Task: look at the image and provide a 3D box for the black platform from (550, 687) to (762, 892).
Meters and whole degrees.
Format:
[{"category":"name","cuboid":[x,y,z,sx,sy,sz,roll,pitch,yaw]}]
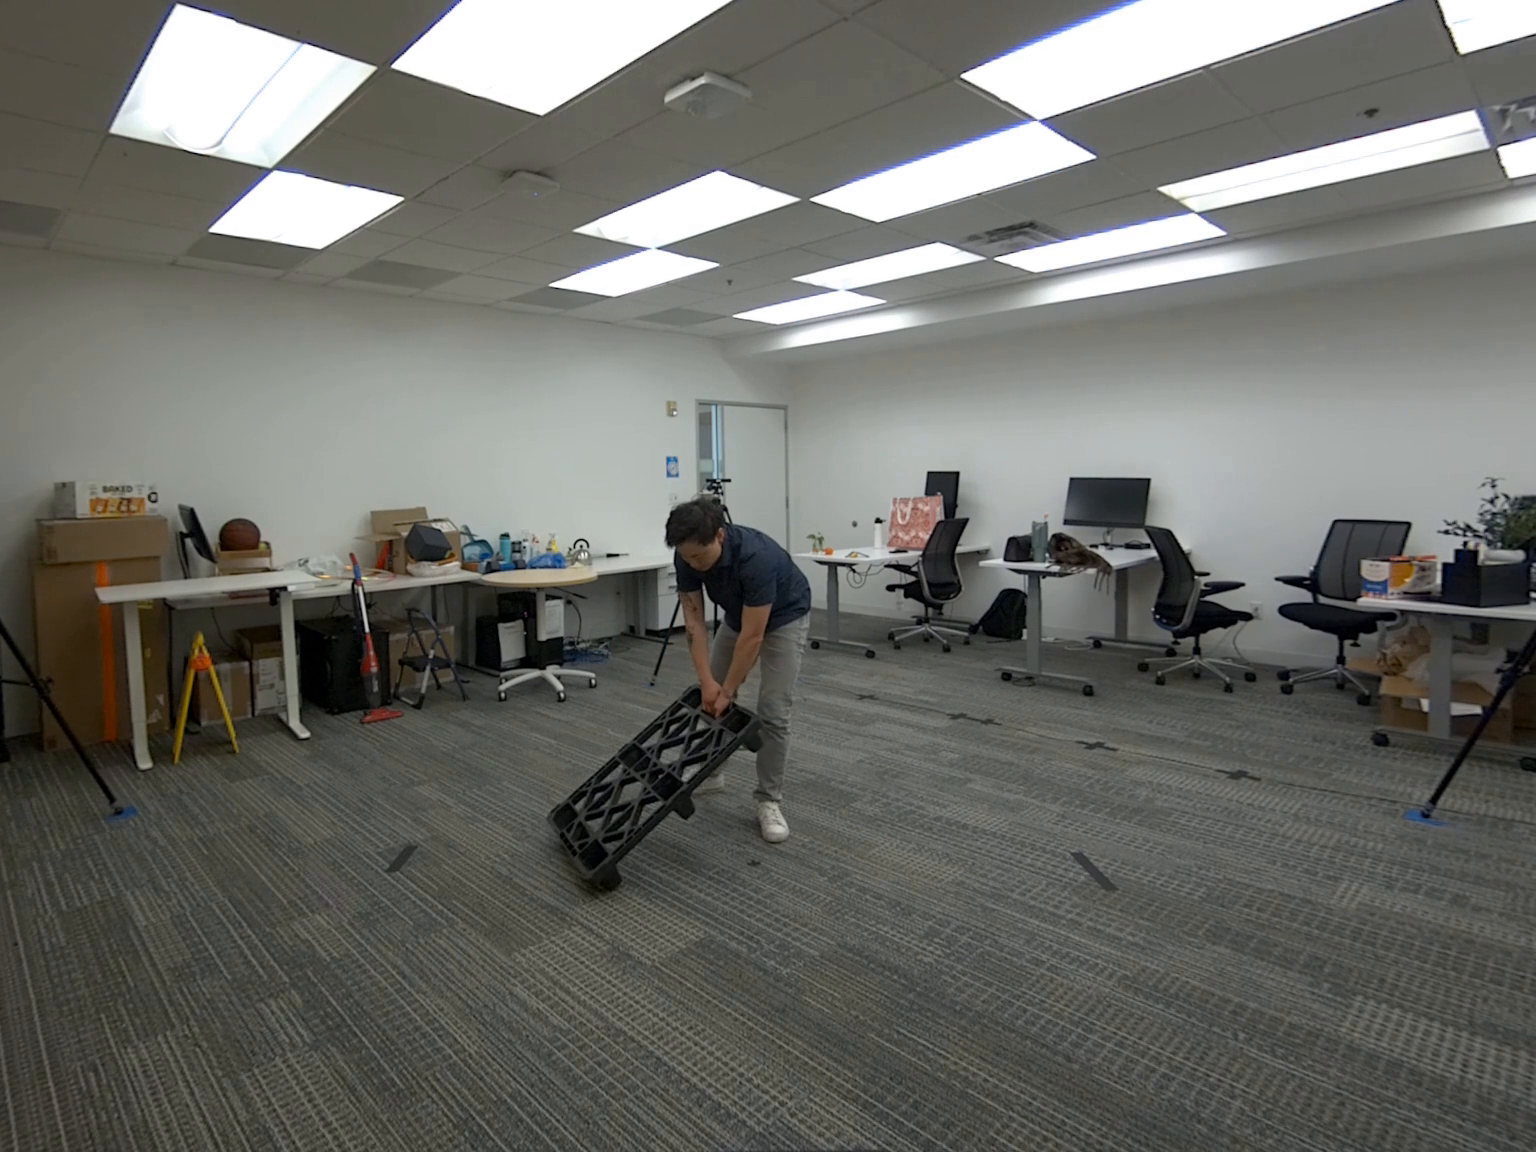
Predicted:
[{"category":"black platform","cuboid":[-0.418,0.773,3.211,0.804,0.140,0.621,-42,22,-16]}]
